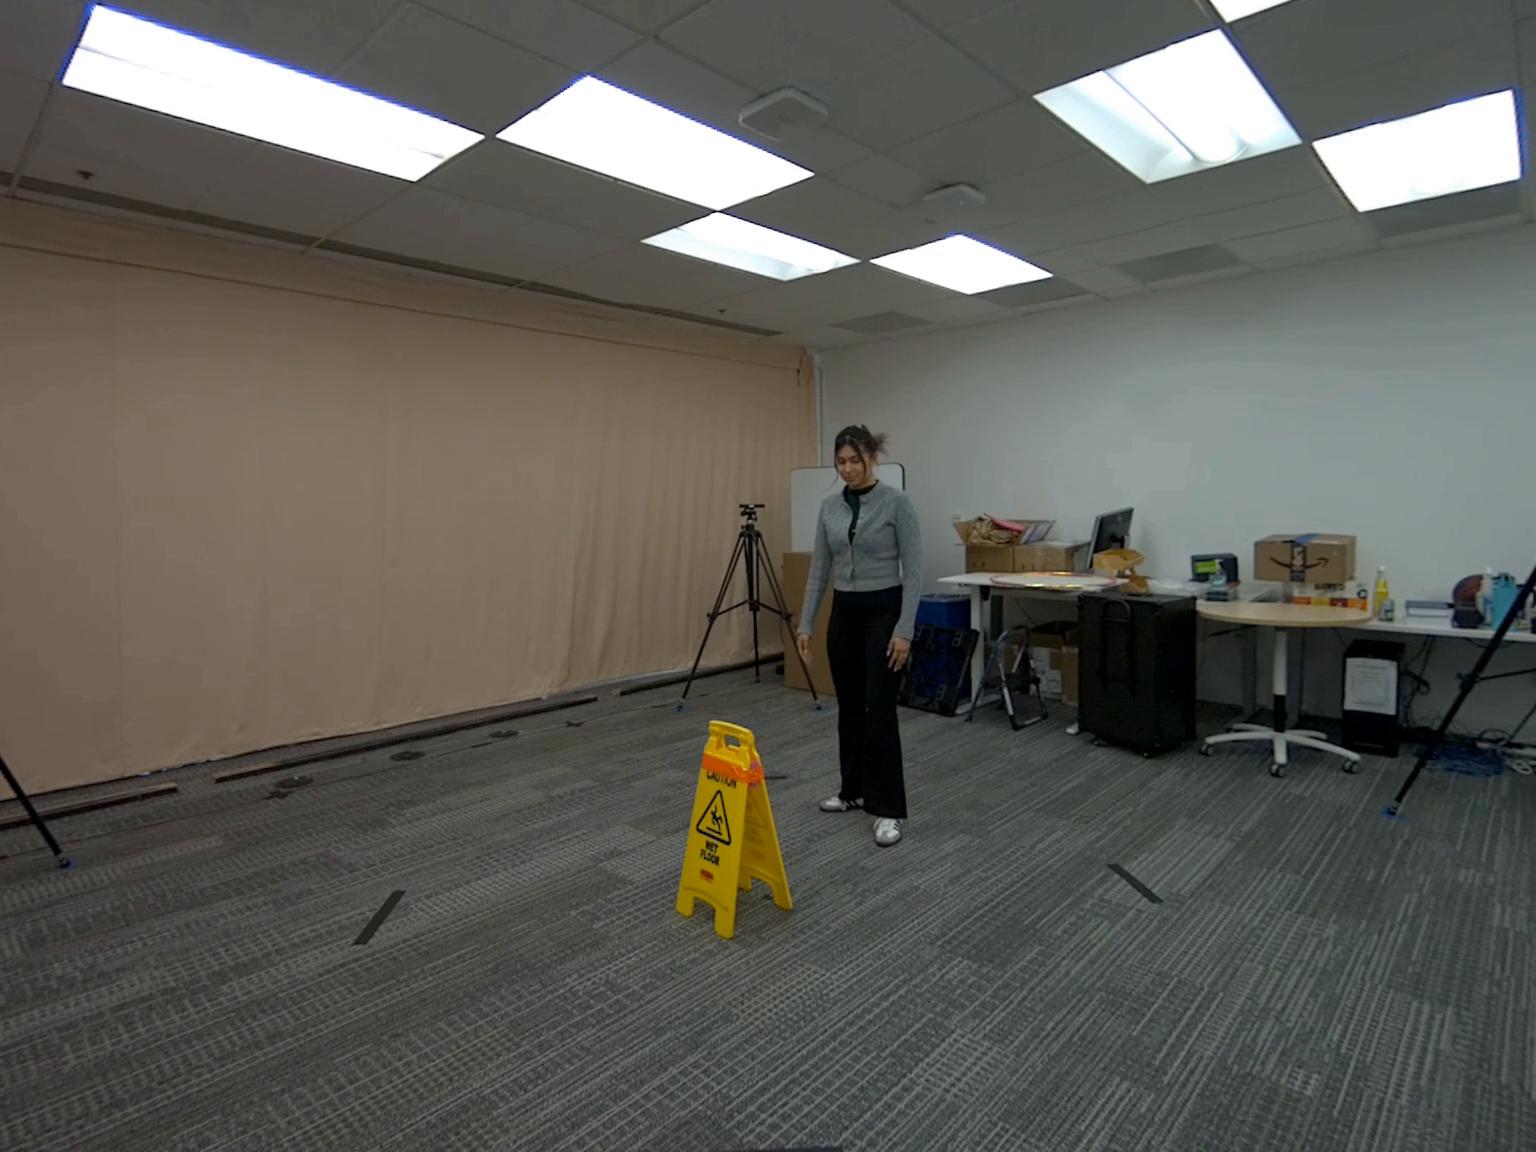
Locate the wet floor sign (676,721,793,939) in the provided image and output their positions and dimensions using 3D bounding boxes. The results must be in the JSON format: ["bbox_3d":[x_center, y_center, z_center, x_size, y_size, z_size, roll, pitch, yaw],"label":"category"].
[{"bbox_3d":[-0.119,0.828,2.874,0.281,0.645,0.291,-4,4,-43],"label":"wet floor sign"}]
